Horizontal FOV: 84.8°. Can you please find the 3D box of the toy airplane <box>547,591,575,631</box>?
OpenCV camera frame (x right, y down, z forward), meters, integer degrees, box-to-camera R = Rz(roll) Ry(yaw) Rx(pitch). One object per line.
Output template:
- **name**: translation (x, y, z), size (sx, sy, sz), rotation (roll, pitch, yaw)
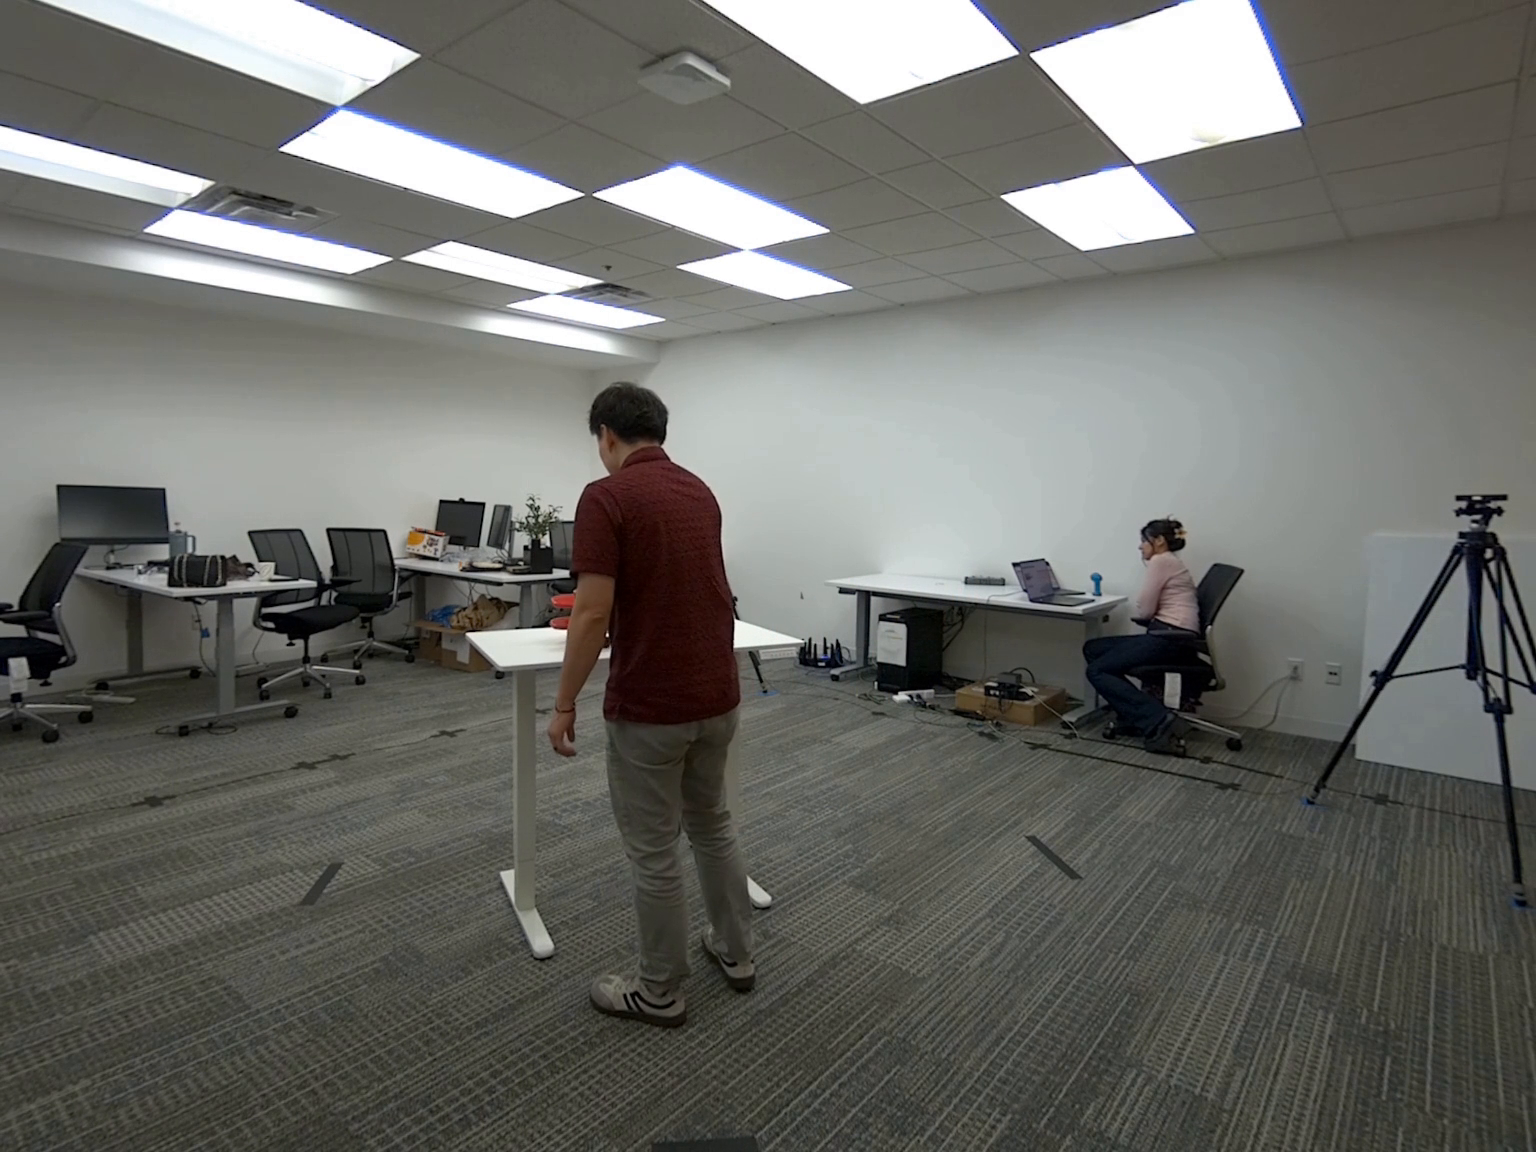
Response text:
- **toy airplane**: translation (-0.560, 0.138, 2.766), size (0.268, 0.156, 0.244), rotation (4, 6, 37)
